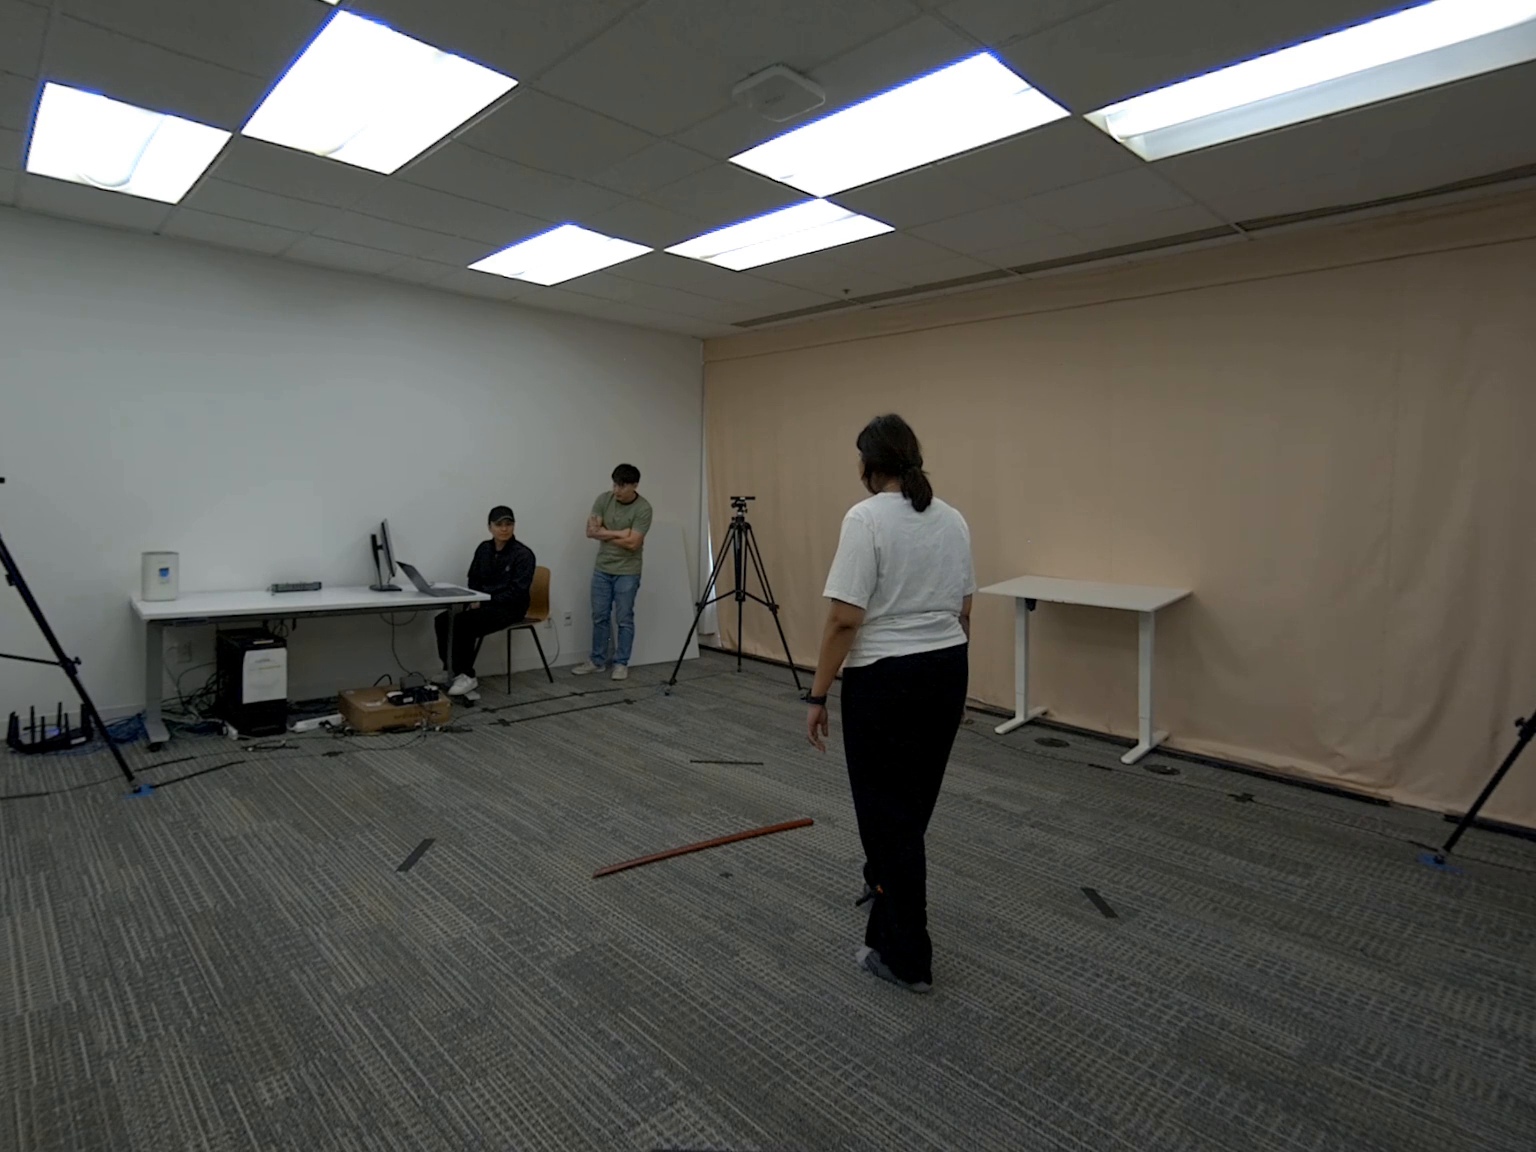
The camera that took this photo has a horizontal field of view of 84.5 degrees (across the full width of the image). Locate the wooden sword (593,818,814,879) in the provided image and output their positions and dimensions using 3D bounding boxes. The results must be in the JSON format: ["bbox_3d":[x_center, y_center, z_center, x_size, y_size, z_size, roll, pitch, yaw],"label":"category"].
[{"bbox_3d":[-0.232,1.064,3.345,1.003,0.024,0.053,-2,24,-35],"label":"wooden sword"}]
